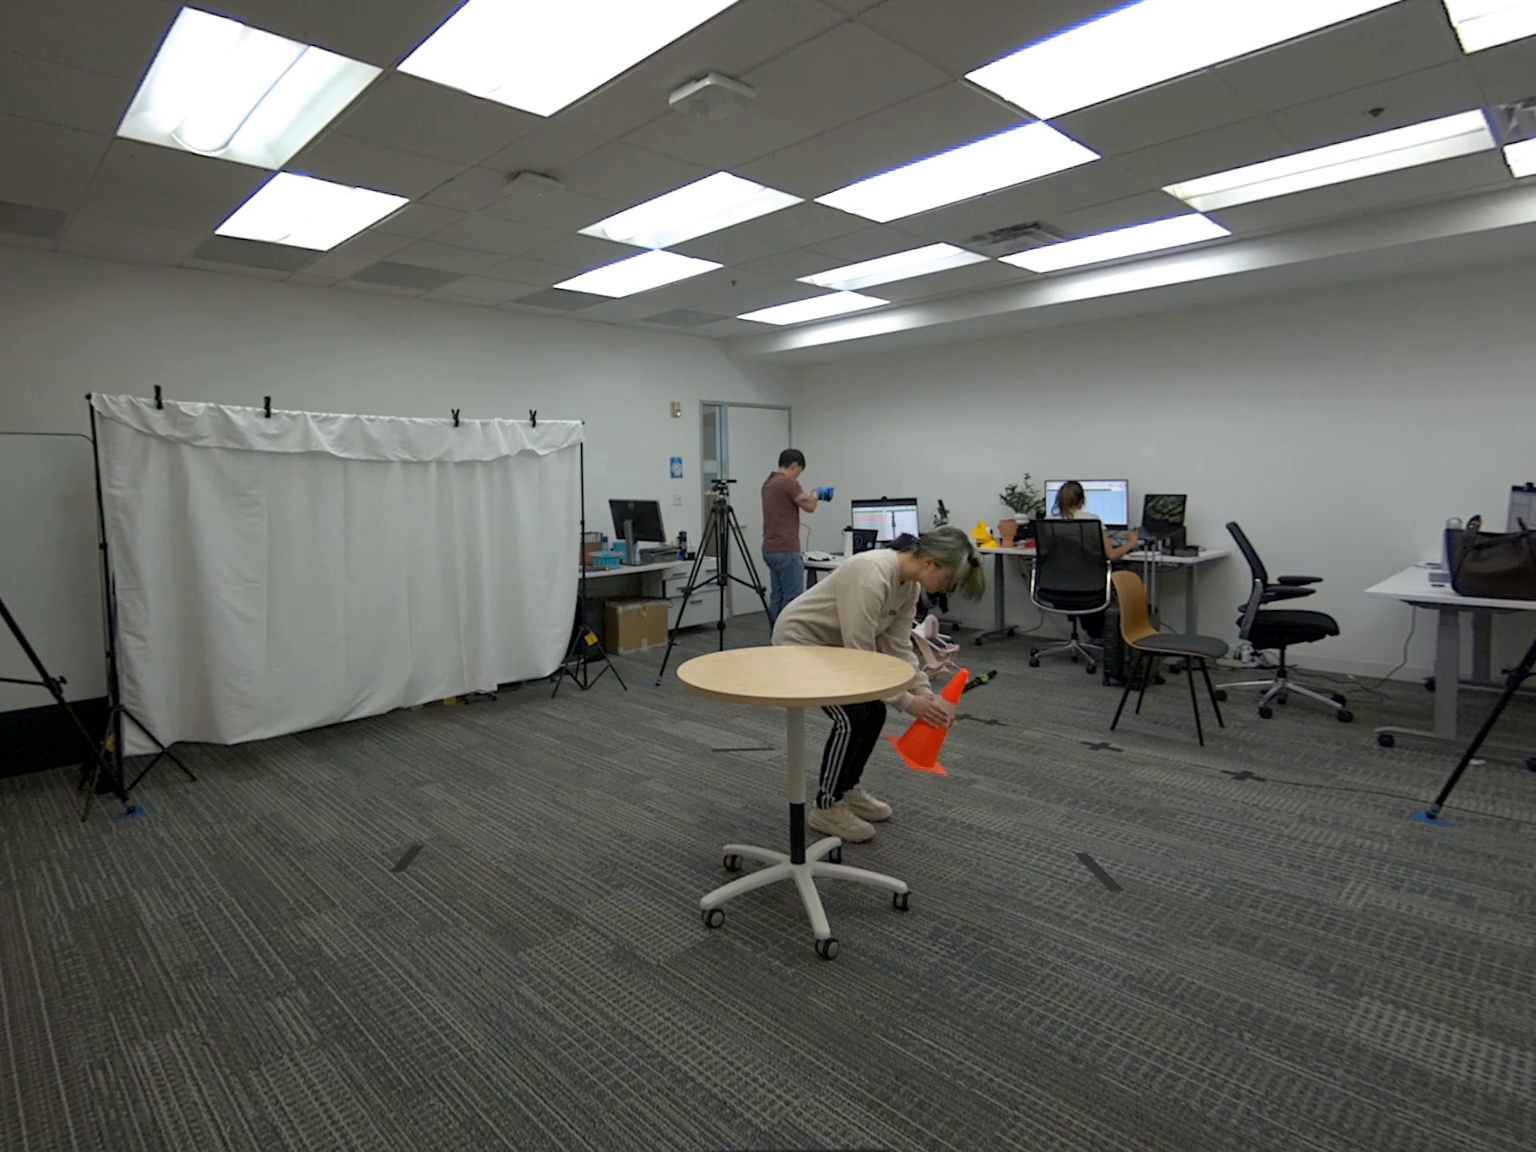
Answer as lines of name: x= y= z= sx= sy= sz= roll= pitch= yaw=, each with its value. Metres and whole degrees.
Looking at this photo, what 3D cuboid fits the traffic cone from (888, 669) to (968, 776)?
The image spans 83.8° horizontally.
traffic cone: x=0.642 y=0.510 z=3.164 sx=0.197 sy=0.381 sz=0.213 roll=12 pitch=19 yaw=-38
